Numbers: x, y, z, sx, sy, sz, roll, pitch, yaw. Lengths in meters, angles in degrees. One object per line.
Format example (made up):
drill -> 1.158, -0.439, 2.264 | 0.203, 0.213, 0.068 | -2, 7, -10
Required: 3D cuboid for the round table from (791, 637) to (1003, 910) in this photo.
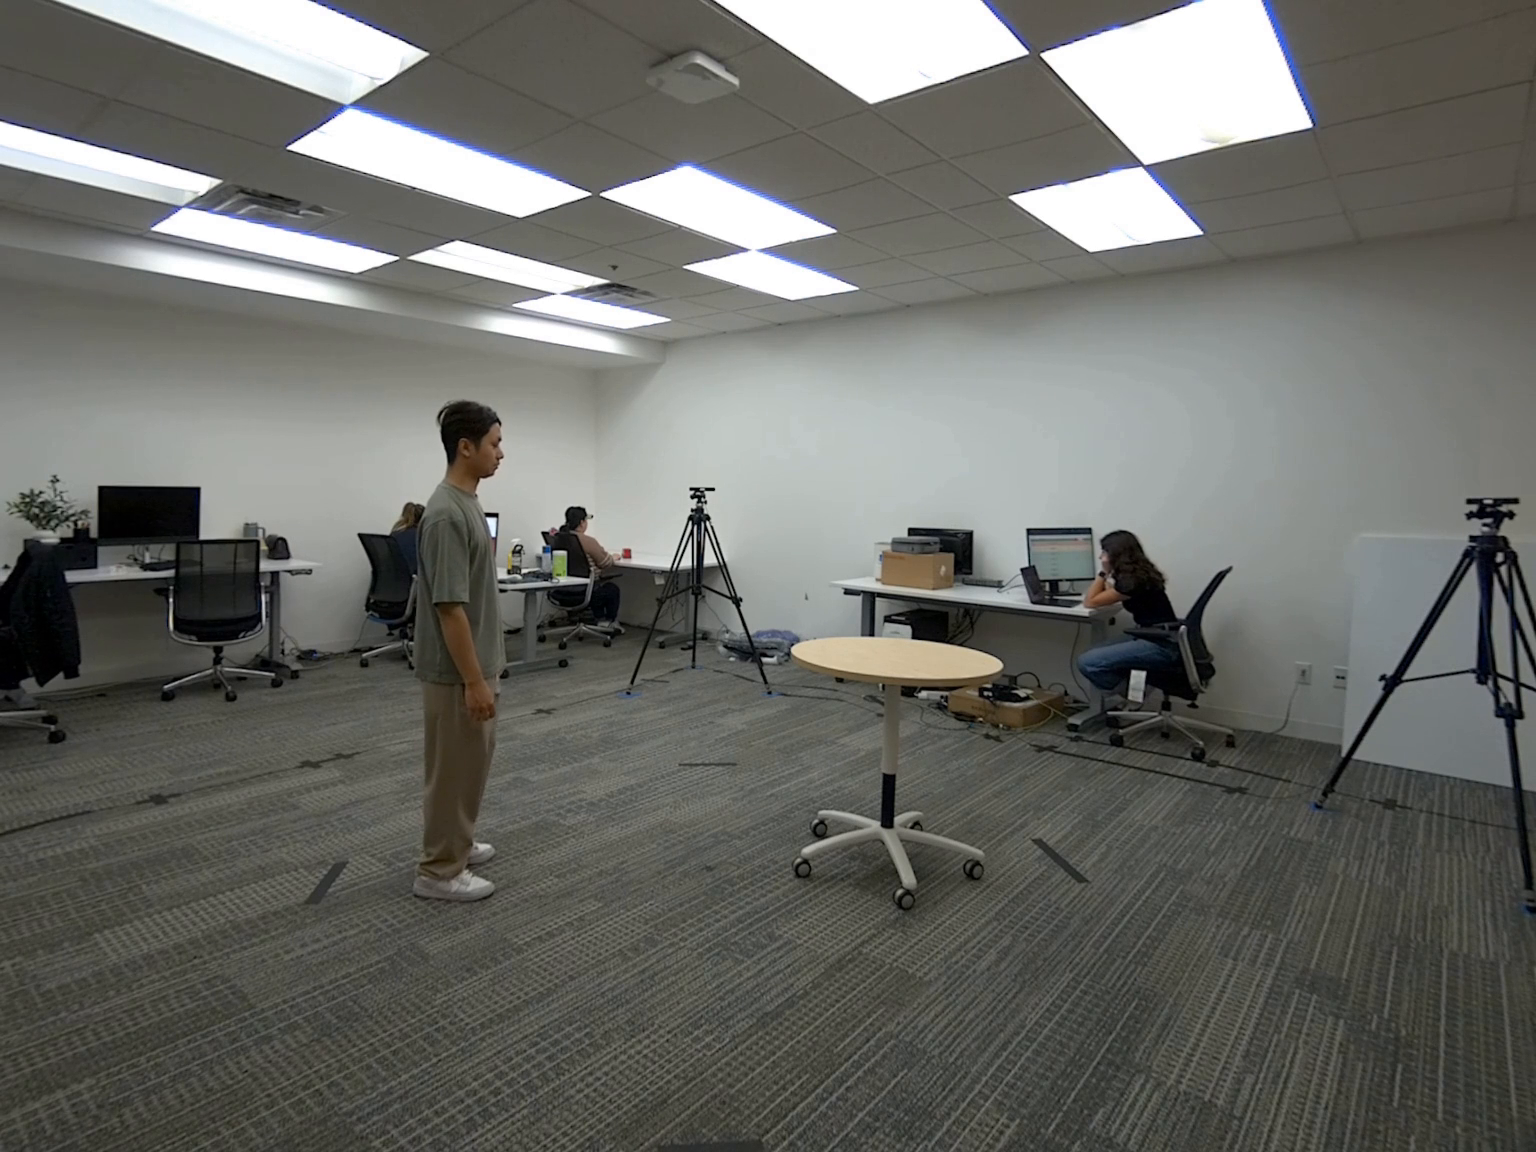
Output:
round table -> 0.442, 0.686, 3.152 | 0.784, 0.784, 0.789 | 2, 4, -2
